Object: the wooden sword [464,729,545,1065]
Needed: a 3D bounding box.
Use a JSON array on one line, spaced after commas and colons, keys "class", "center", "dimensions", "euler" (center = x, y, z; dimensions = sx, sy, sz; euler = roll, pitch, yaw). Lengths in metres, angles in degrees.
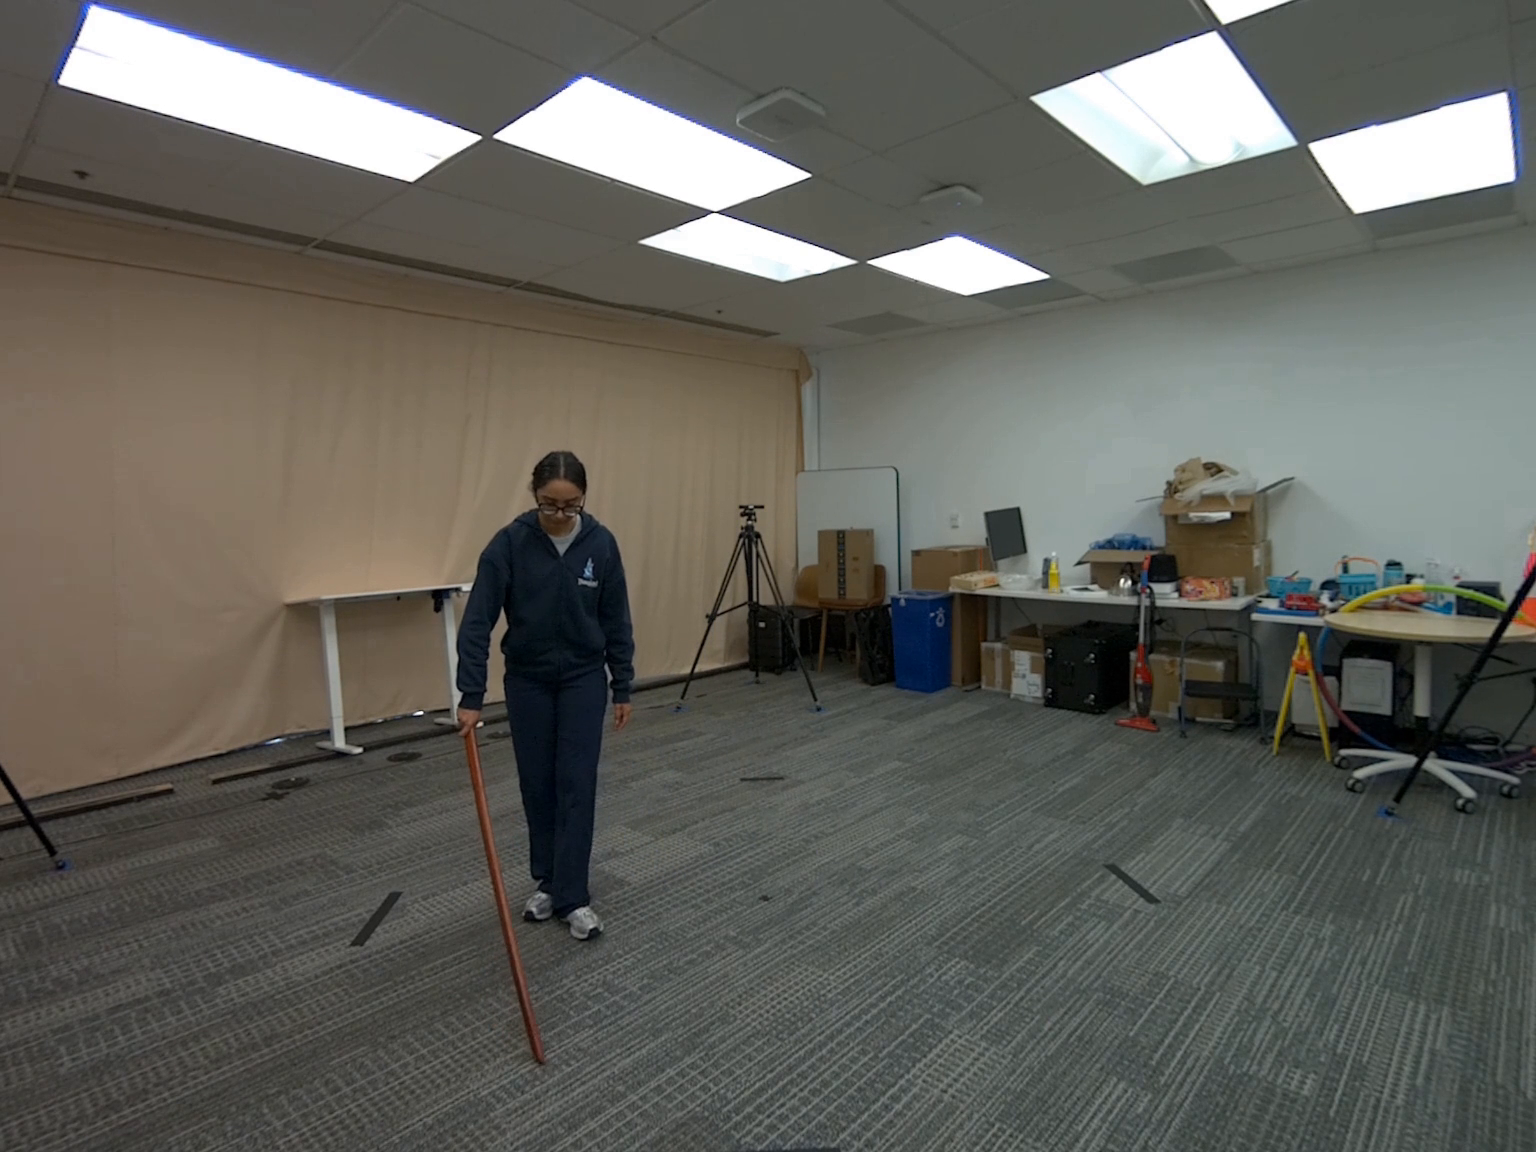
[{"class": "wooden sword", "center": [-0.753, 0.828, 2.395], "dimensions": [0.052, 1.053, 0.023], "euler": [-39, -35, 21]}]
